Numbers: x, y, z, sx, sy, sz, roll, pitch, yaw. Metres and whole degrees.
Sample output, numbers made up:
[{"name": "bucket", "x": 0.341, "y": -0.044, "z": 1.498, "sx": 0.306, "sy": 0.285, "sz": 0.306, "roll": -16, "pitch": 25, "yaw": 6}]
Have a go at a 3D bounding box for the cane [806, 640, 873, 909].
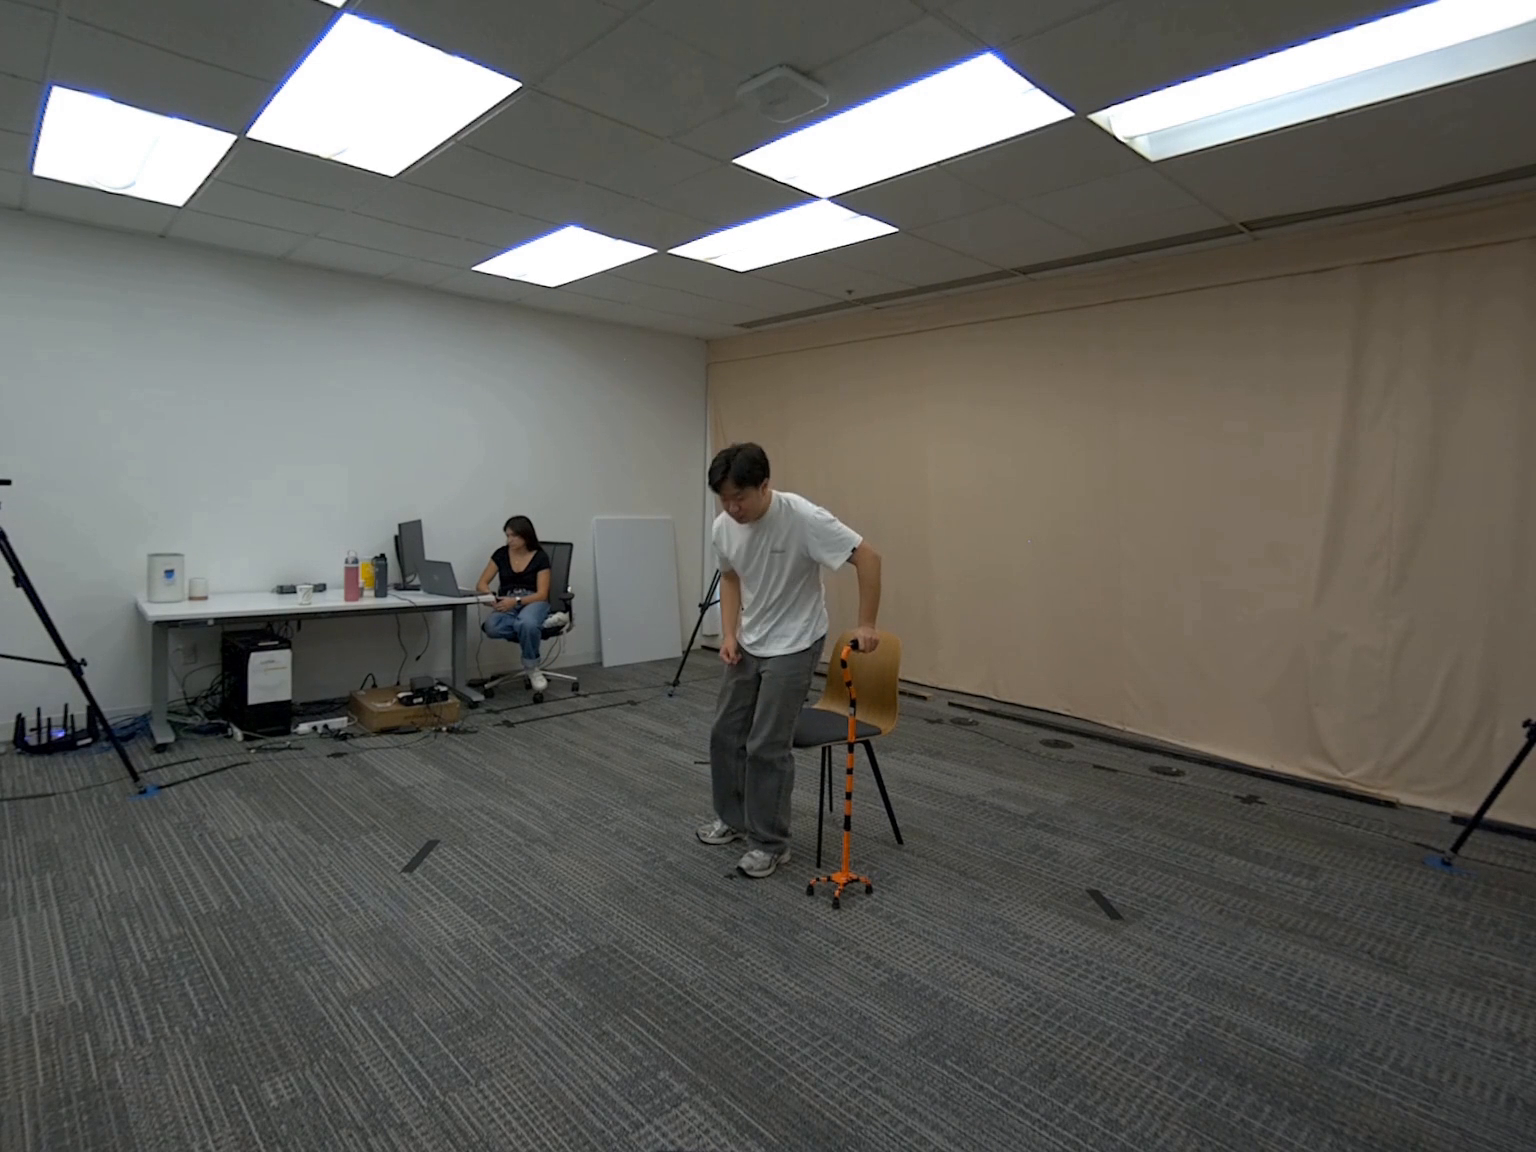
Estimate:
[{"name": "cane", "x": 0.263, "y": 0.673, "z": 2.953, "sx": 0.202, "sy": 0.905, "sz": 0.155, "roll": -1, "pitch": 5, "yaw": -43}]
